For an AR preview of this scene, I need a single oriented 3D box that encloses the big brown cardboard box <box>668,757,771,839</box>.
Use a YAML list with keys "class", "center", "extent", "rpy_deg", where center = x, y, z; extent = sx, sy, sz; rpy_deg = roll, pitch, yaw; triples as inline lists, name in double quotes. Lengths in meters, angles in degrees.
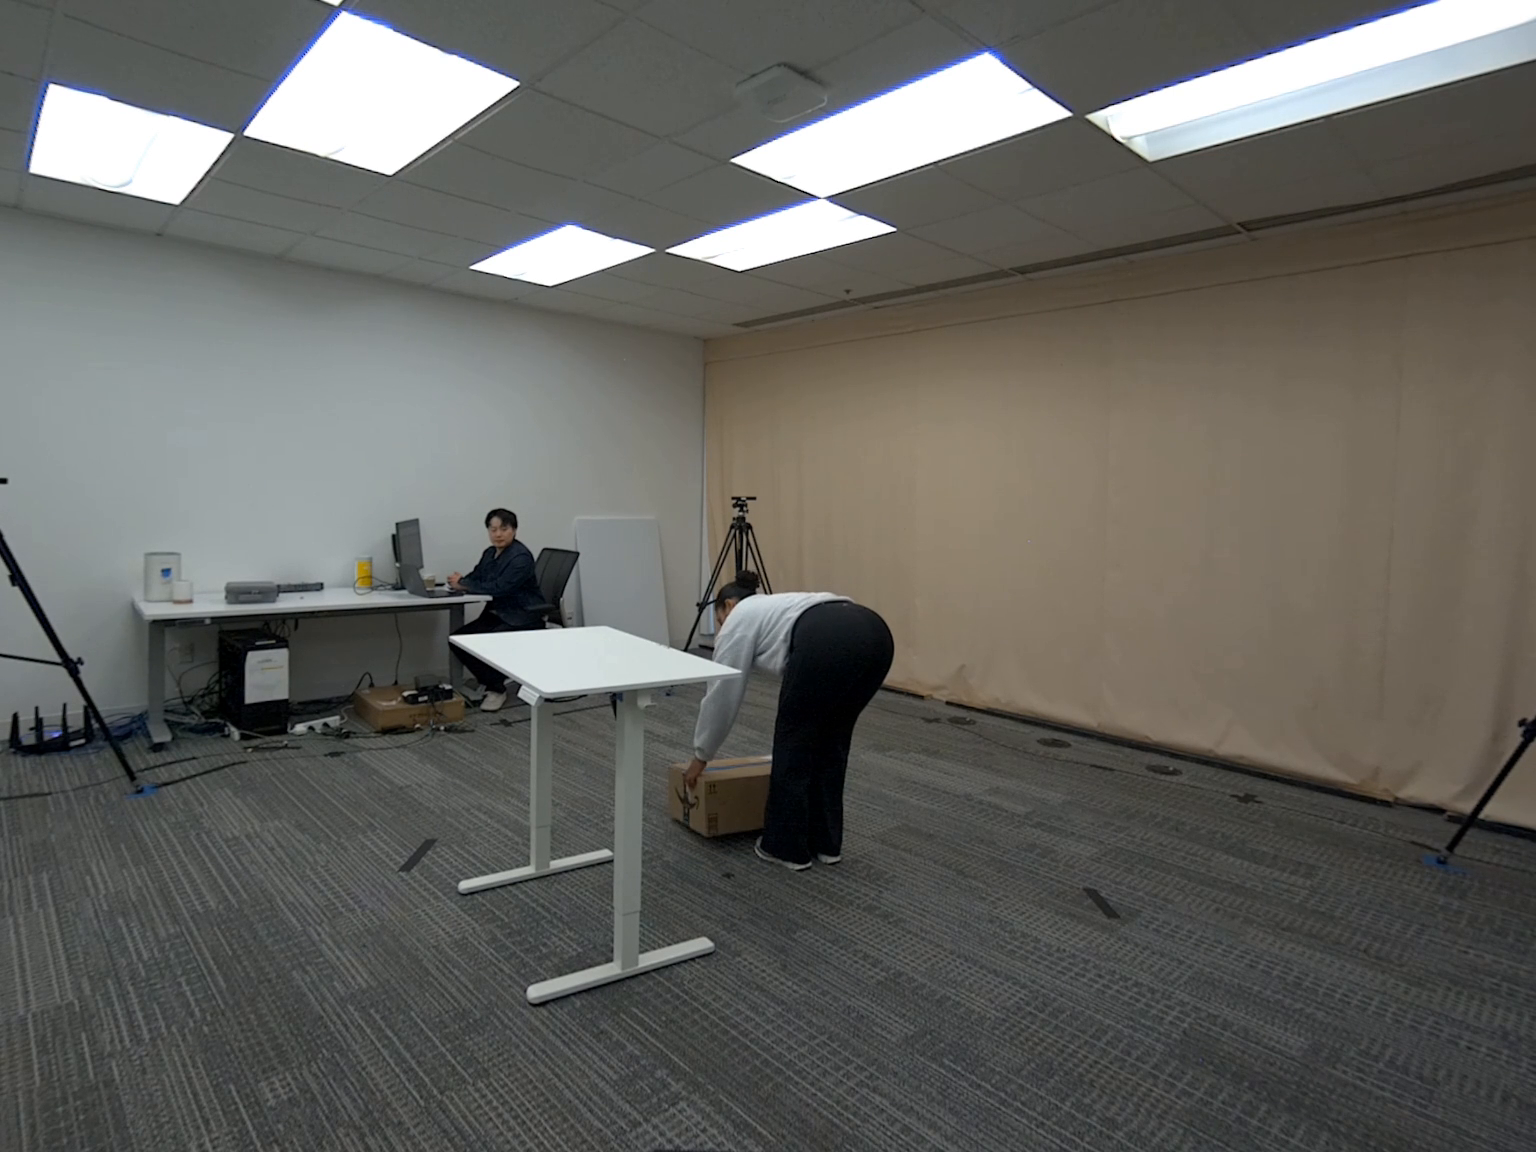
- class: "big brown cardboard box"
  center: [-0.090, 0.896, 3.583]
  extent: [0.578, 0.234, 0.424]
  rpy_deg: [-1, -3, -26]
